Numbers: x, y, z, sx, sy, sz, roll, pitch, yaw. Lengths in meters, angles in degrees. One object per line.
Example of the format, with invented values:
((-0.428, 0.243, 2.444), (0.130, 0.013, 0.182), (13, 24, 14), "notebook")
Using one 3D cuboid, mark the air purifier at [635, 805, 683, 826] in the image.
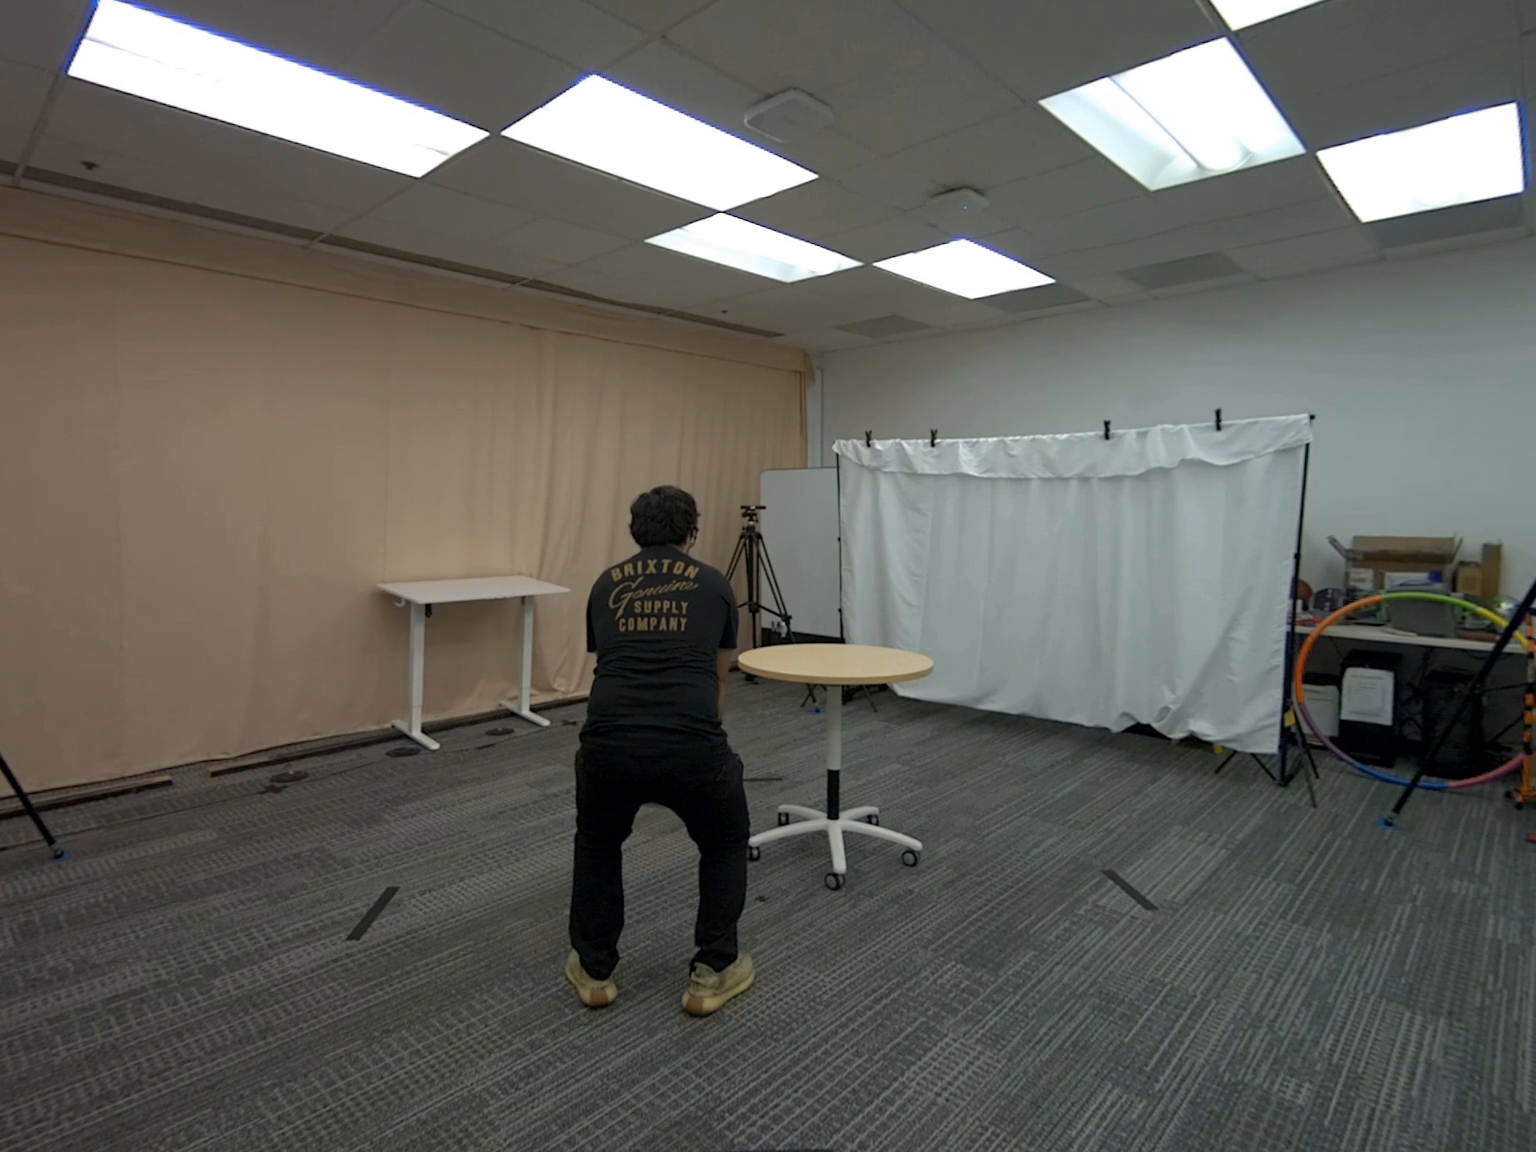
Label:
((-0.320, 0.579, 2.623), (0.170, 0.260, 0.173), (0, 11, 8), "air purifier")
